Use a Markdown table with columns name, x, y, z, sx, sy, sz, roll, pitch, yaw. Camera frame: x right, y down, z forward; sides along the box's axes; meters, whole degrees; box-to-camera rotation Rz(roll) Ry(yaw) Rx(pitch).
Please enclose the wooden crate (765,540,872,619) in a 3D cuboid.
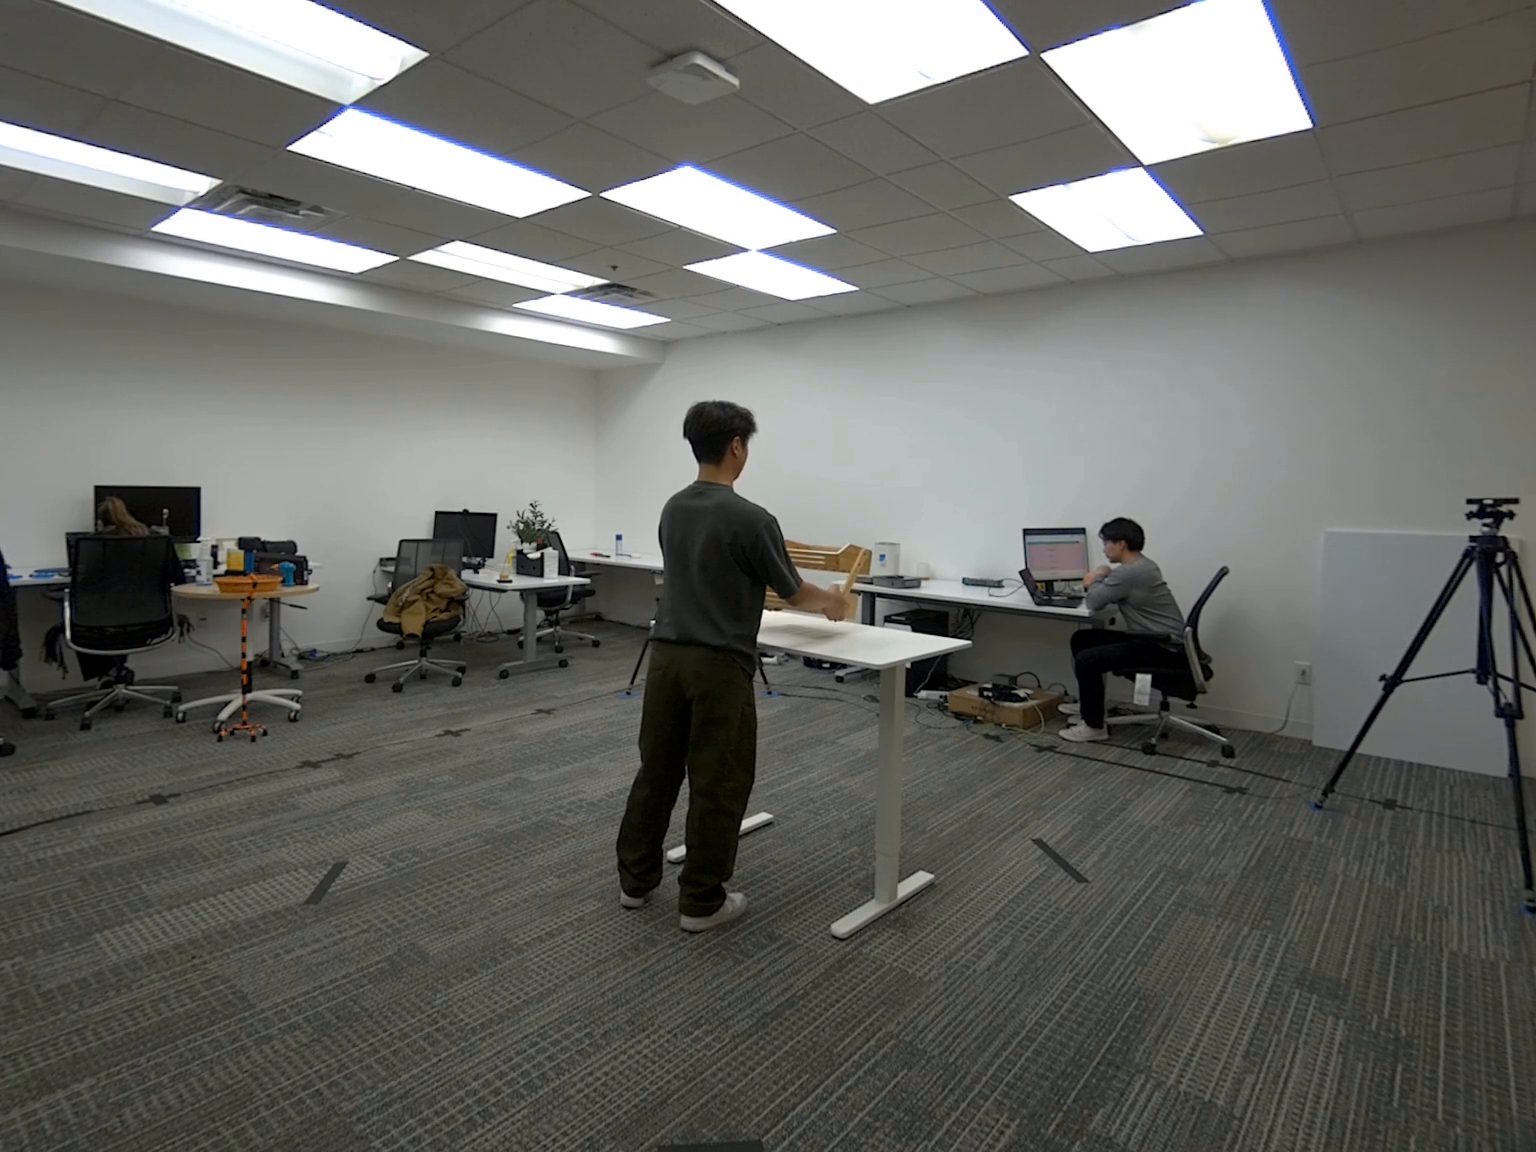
| name | x | y | z | sx | sy | sz | roll | pitch | yaw |
| --- | --- | --- | --- | --- | --- | --- | --- | --- | --- |
| wooden crate | 0.147 | -0.006 | 3.094 | 0.336 | 0.274 | 0.291 | 6 | -4 | 41 |
